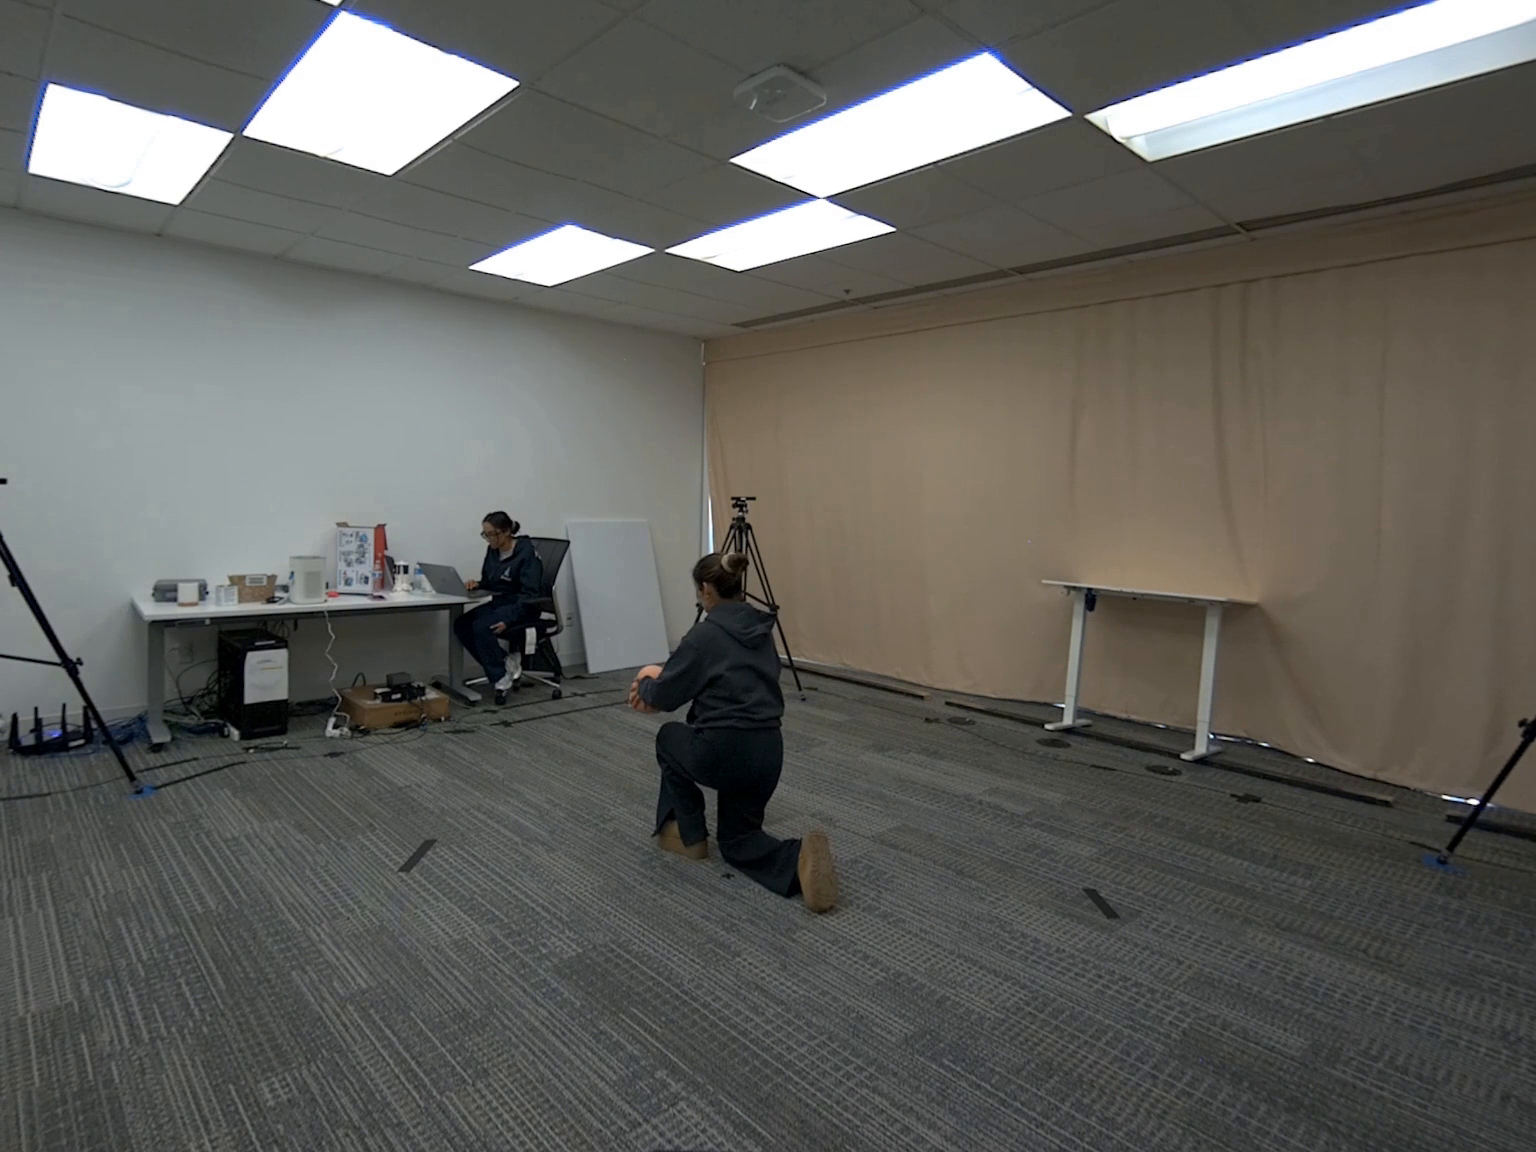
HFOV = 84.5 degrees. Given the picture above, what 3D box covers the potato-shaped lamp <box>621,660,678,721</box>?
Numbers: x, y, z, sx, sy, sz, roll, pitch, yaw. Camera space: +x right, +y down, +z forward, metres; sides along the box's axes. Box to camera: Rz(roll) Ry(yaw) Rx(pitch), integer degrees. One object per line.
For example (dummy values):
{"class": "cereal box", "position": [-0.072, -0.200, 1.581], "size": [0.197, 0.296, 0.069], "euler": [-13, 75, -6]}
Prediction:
{"class": "potato-shaped lamp", "position": [-0.493, 0.475, 3.559], "size": [0.176, 0.197, 0.161], "euler": [9, 6, 44]}
